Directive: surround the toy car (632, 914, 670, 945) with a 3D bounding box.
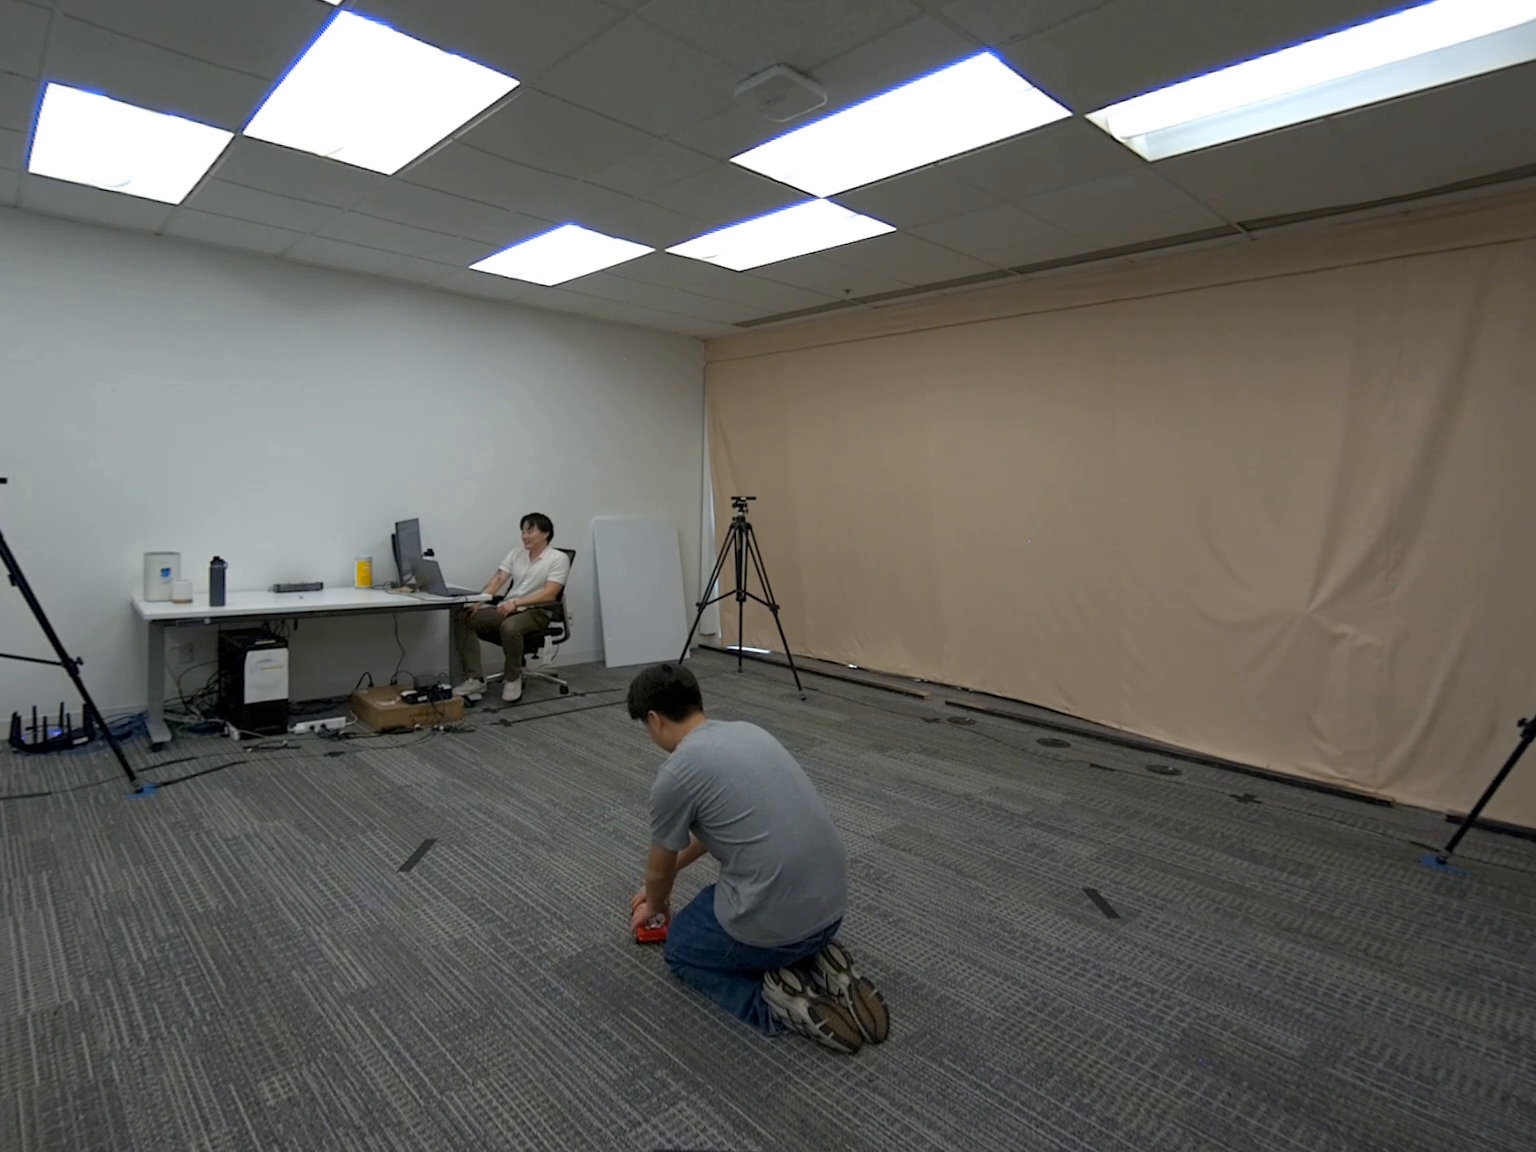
[{"bbox_3d":[-0.388,1.106,2.721,0.129,0.082,0.259,0,17,-11],"label":"toy car"}]
